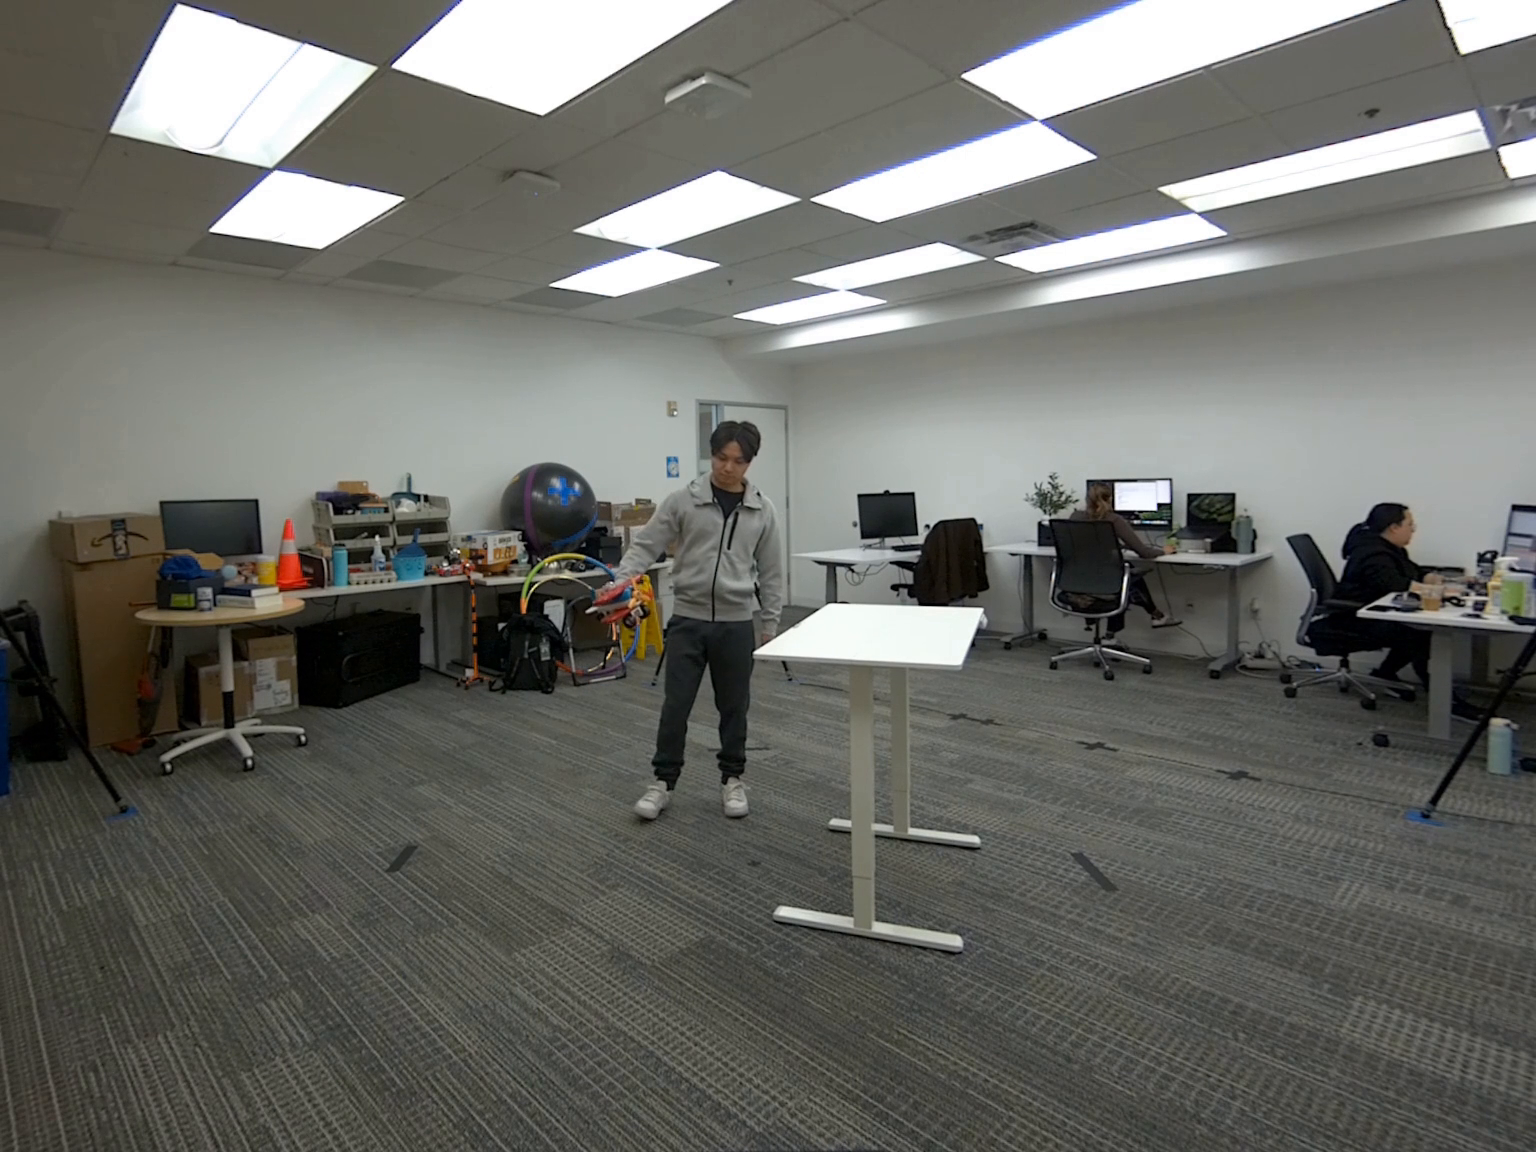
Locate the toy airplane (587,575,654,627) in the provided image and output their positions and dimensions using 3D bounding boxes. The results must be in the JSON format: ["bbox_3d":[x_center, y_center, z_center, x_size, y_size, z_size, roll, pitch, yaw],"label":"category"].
[{"bbox_3d":[-0.592,0.104,3.253,0.261,0.153,0.254,-8,19,9],"label":"toy airplane"}]
